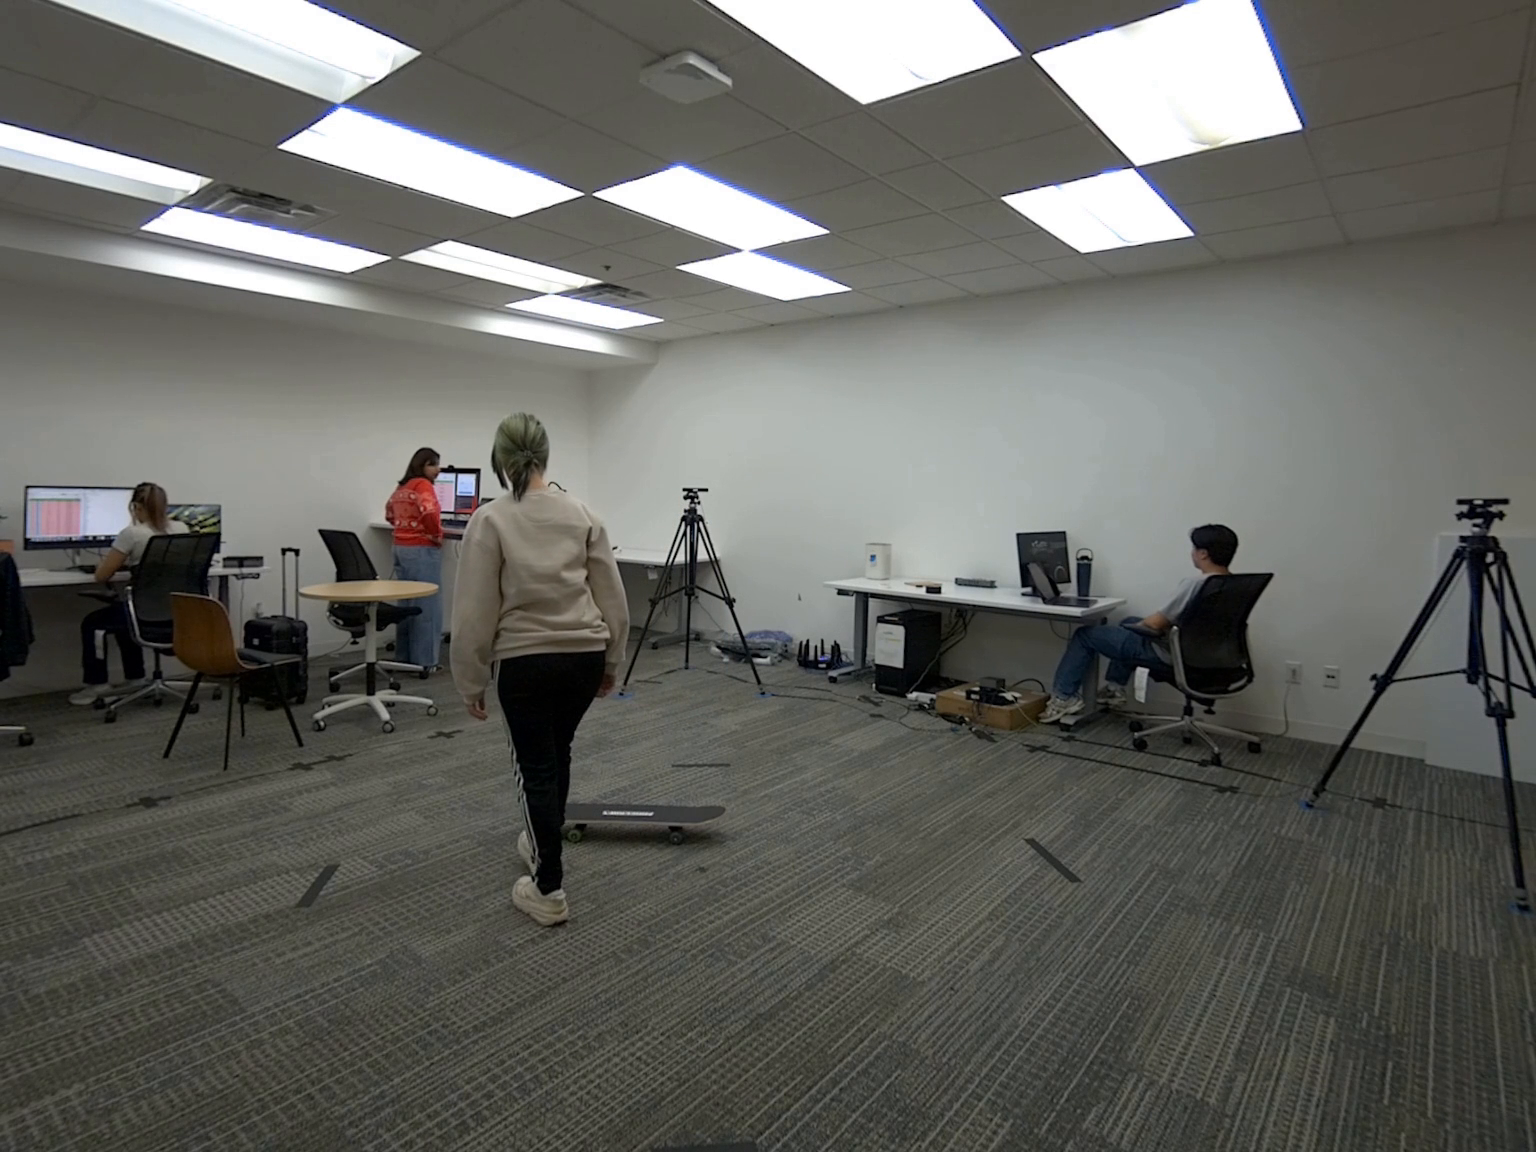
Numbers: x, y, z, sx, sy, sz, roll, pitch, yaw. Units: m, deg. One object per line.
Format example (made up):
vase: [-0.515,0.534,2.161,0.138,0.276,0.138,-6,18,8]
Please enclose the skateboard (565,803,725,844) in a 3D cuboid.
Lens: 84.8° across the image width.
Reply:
skateboard: [-0.572,0.976,3.406,0.786,0.110,0.194,1,4,1]
